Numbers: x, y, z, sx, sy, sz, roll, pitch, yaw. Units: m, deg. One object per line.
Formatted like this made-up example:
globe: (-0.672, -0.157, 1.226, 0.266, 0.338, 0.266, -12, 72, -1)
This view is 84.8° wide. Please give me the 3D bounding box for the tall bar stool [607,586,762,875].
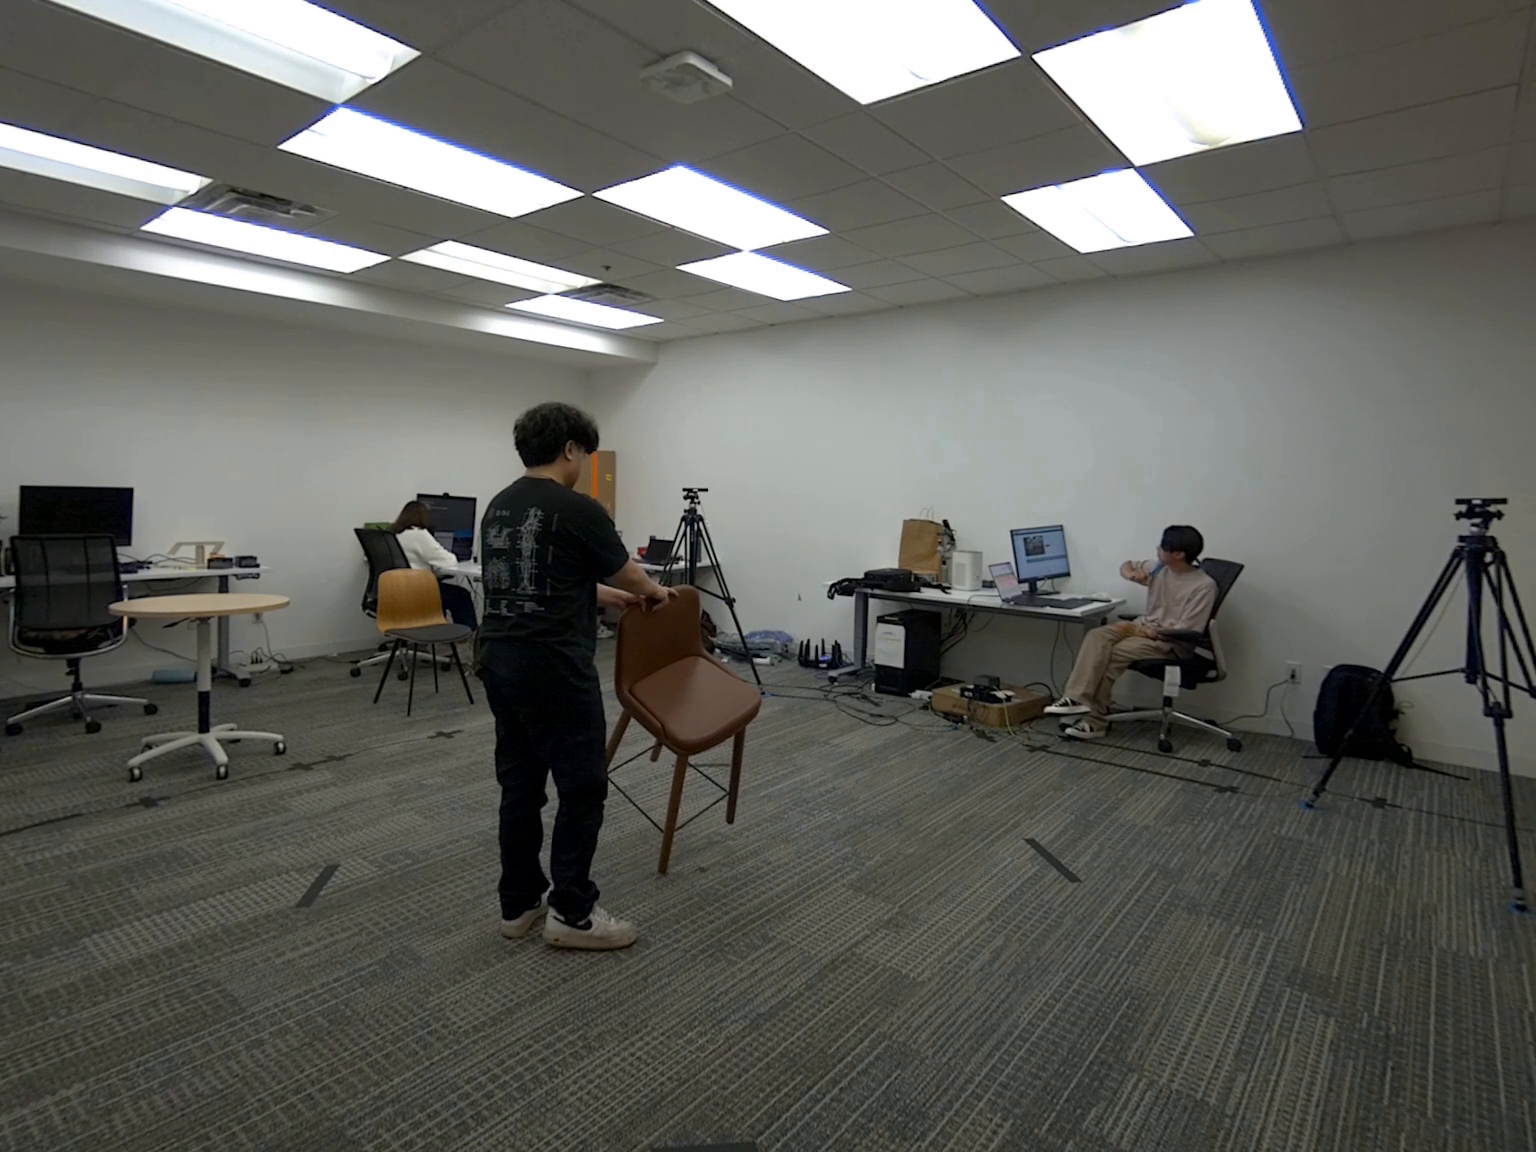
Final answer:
tall bar stool: (-0.340, 0.543, 3.128, 0.485, 0.875, 0.447, 31, 31, 30)
